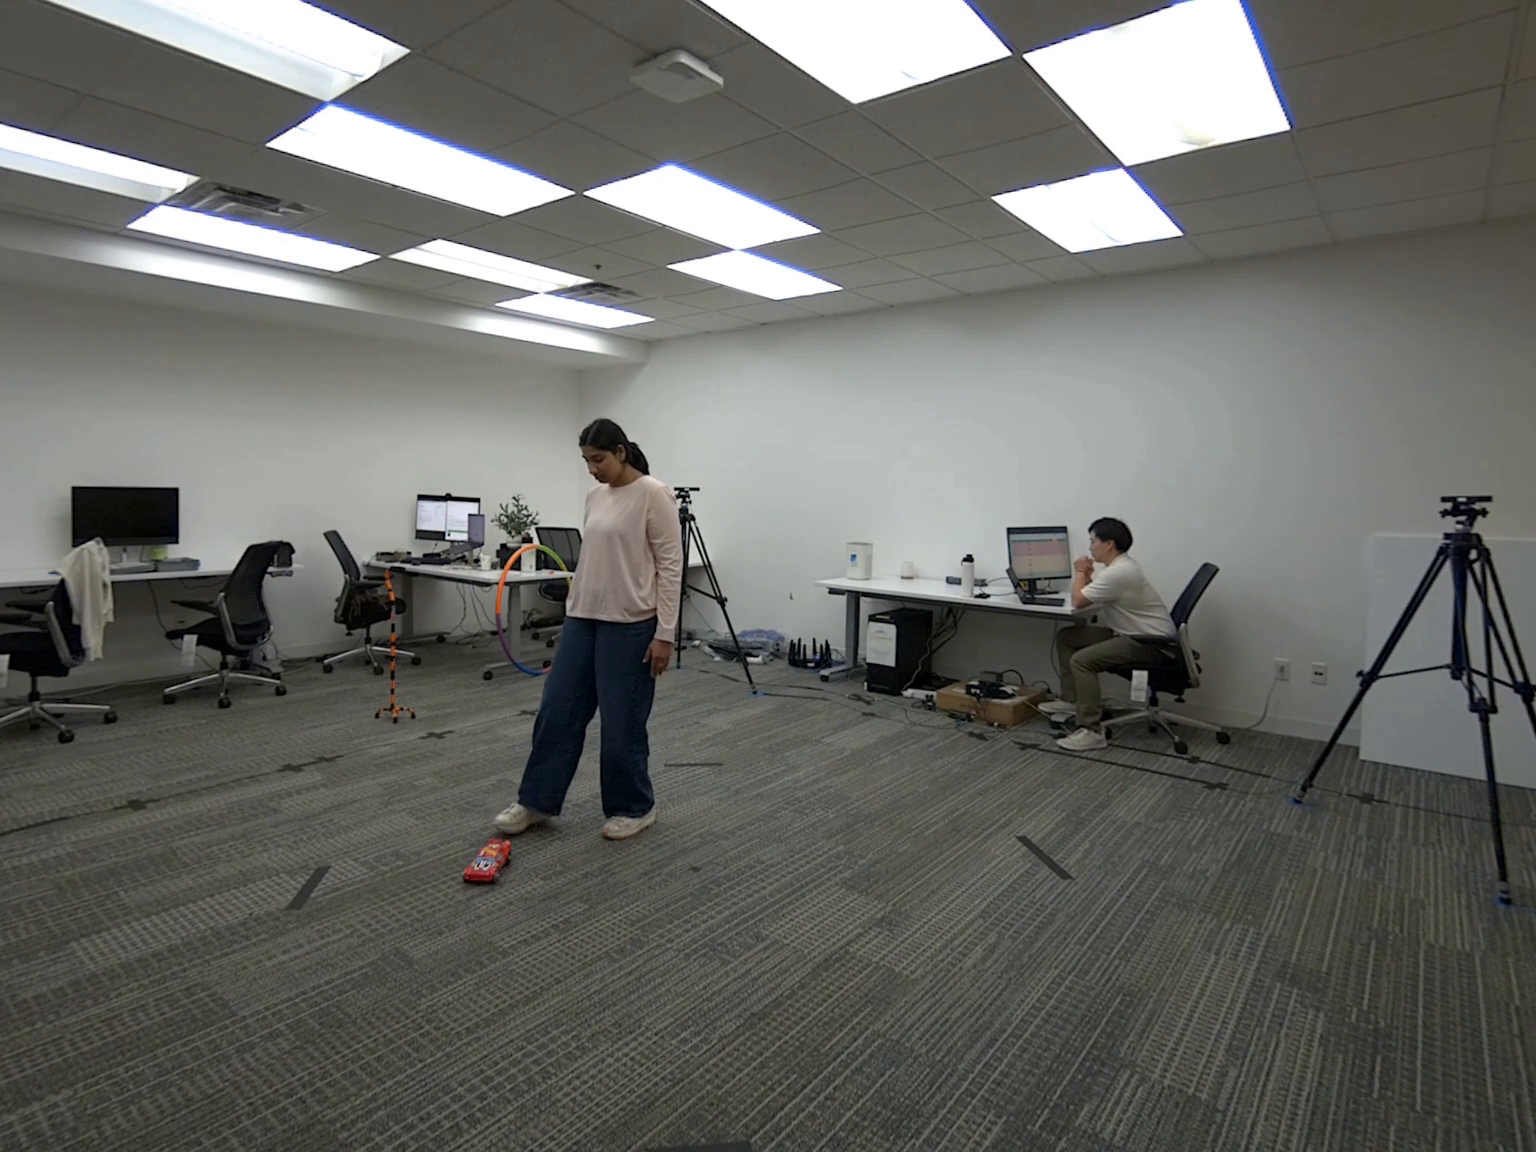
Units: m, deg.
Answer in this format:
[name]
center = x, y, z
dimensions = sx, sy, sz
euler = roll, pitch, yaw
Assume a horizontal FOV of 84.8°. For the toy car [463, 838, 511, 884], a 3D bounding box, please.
[toy car]
center = -1.022, 1.029, 3.065
dimensions = 0.130, 0.082, 0.258
euler = 1, 18, 0
